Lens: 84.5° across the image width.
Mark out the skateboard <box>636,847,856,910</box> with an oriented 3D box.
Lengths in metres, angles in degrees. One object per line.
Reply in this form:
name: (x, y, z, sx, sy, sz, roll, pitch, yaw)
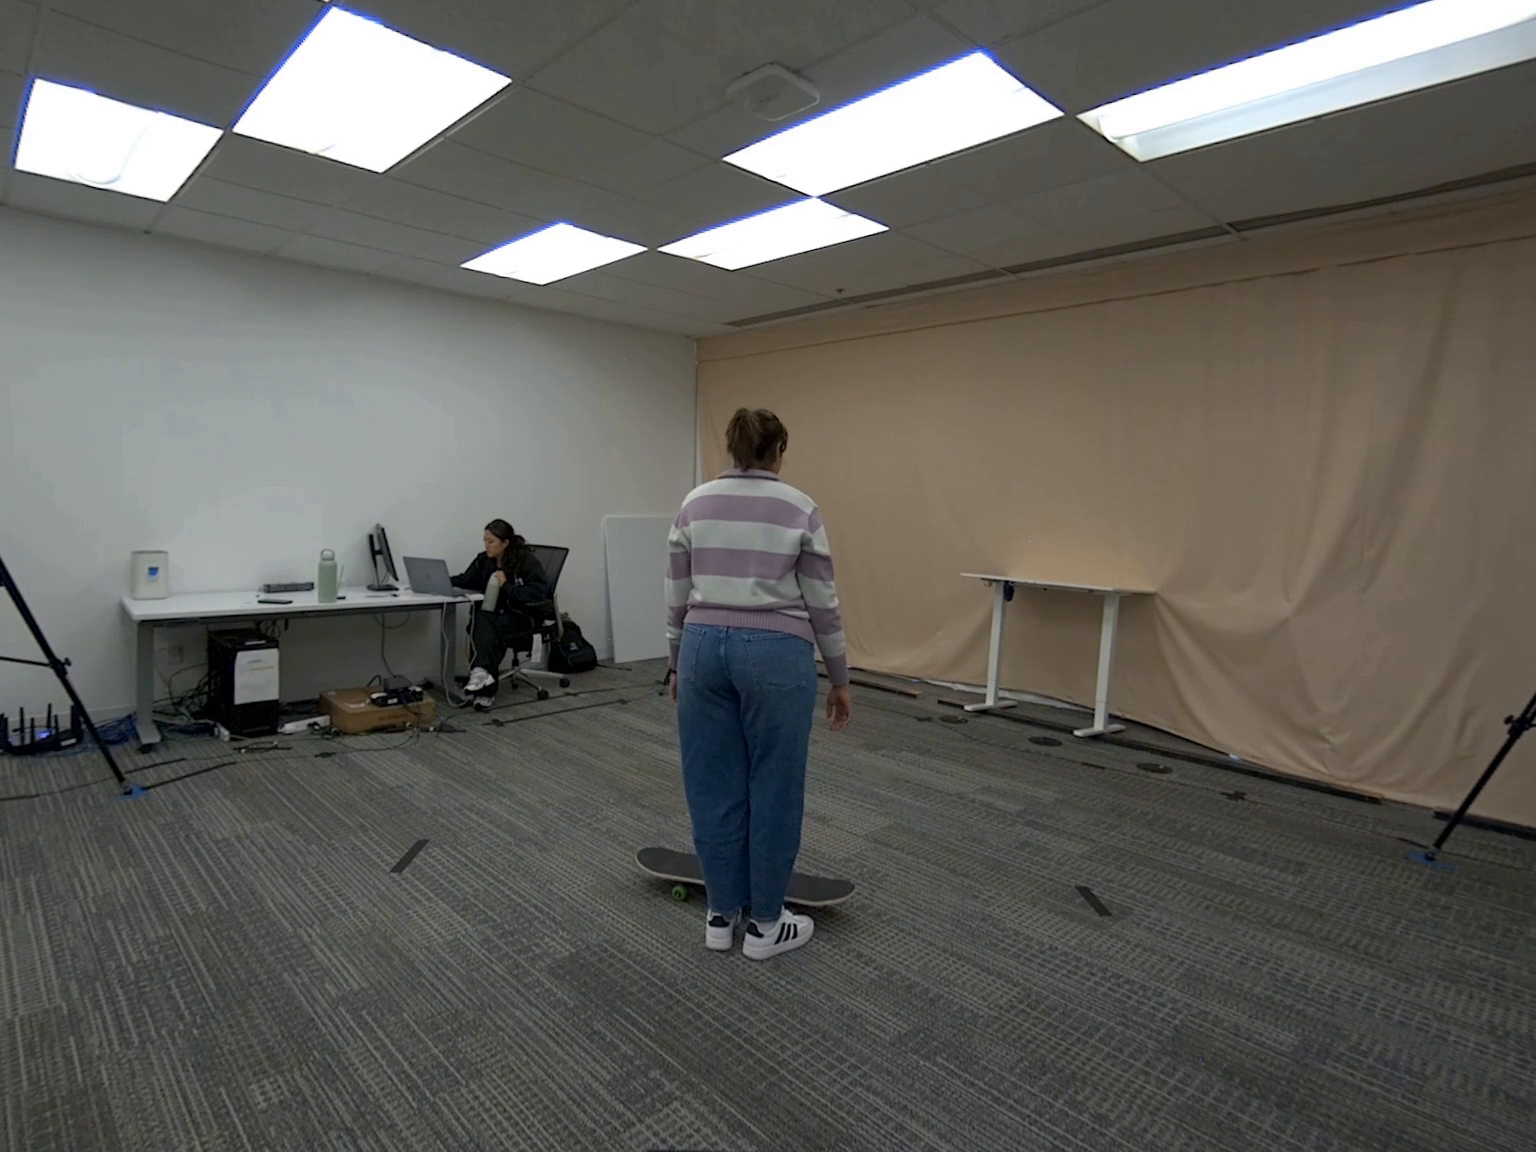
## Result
skateboard: (-0.099, 1.066, 2.904, 0.798, 0.110, 0.191, 3, 5, 19)
